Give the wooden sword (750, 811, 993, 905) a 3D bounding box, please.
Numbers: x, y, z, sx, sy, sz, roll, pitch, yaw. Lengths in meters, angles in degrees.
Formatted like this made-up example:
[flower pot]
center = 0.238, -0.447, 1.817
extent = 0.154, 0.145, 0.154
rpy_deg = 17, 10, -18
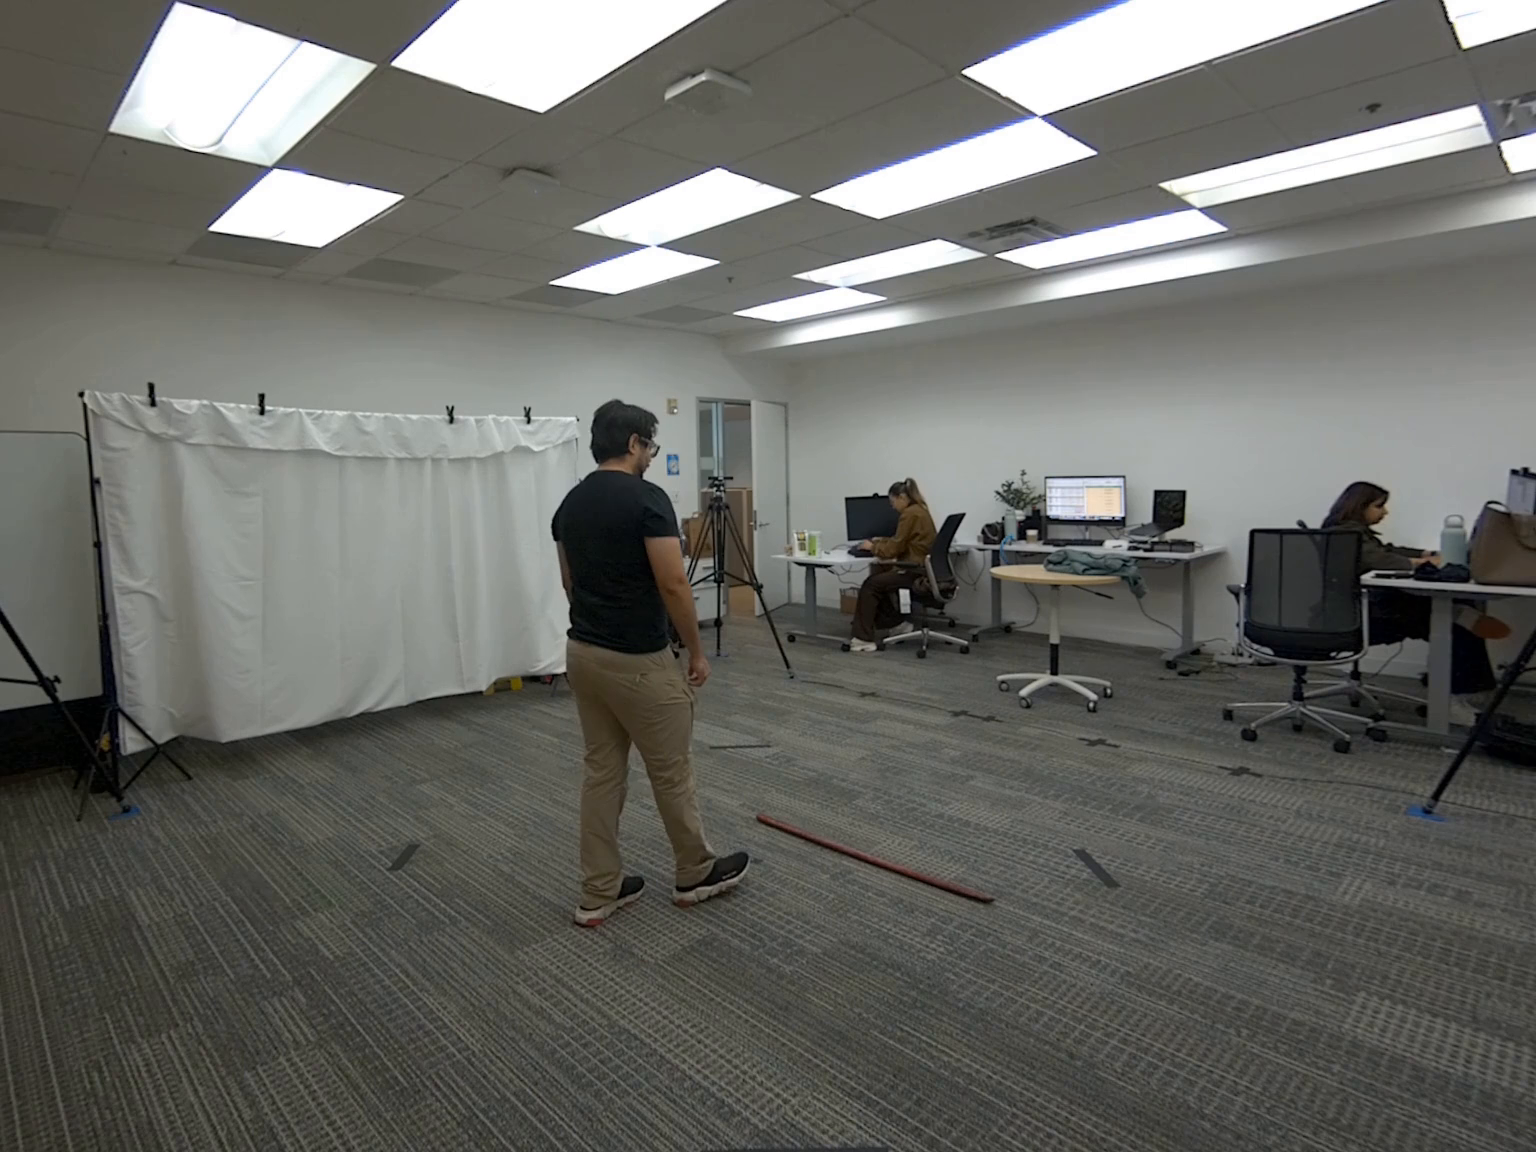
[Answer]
[wooden sword]
center = 0.327, 1.006, 3.120
extent = 1.057, 0.024, 0.049
rpy_deg = 5, -15, 44
